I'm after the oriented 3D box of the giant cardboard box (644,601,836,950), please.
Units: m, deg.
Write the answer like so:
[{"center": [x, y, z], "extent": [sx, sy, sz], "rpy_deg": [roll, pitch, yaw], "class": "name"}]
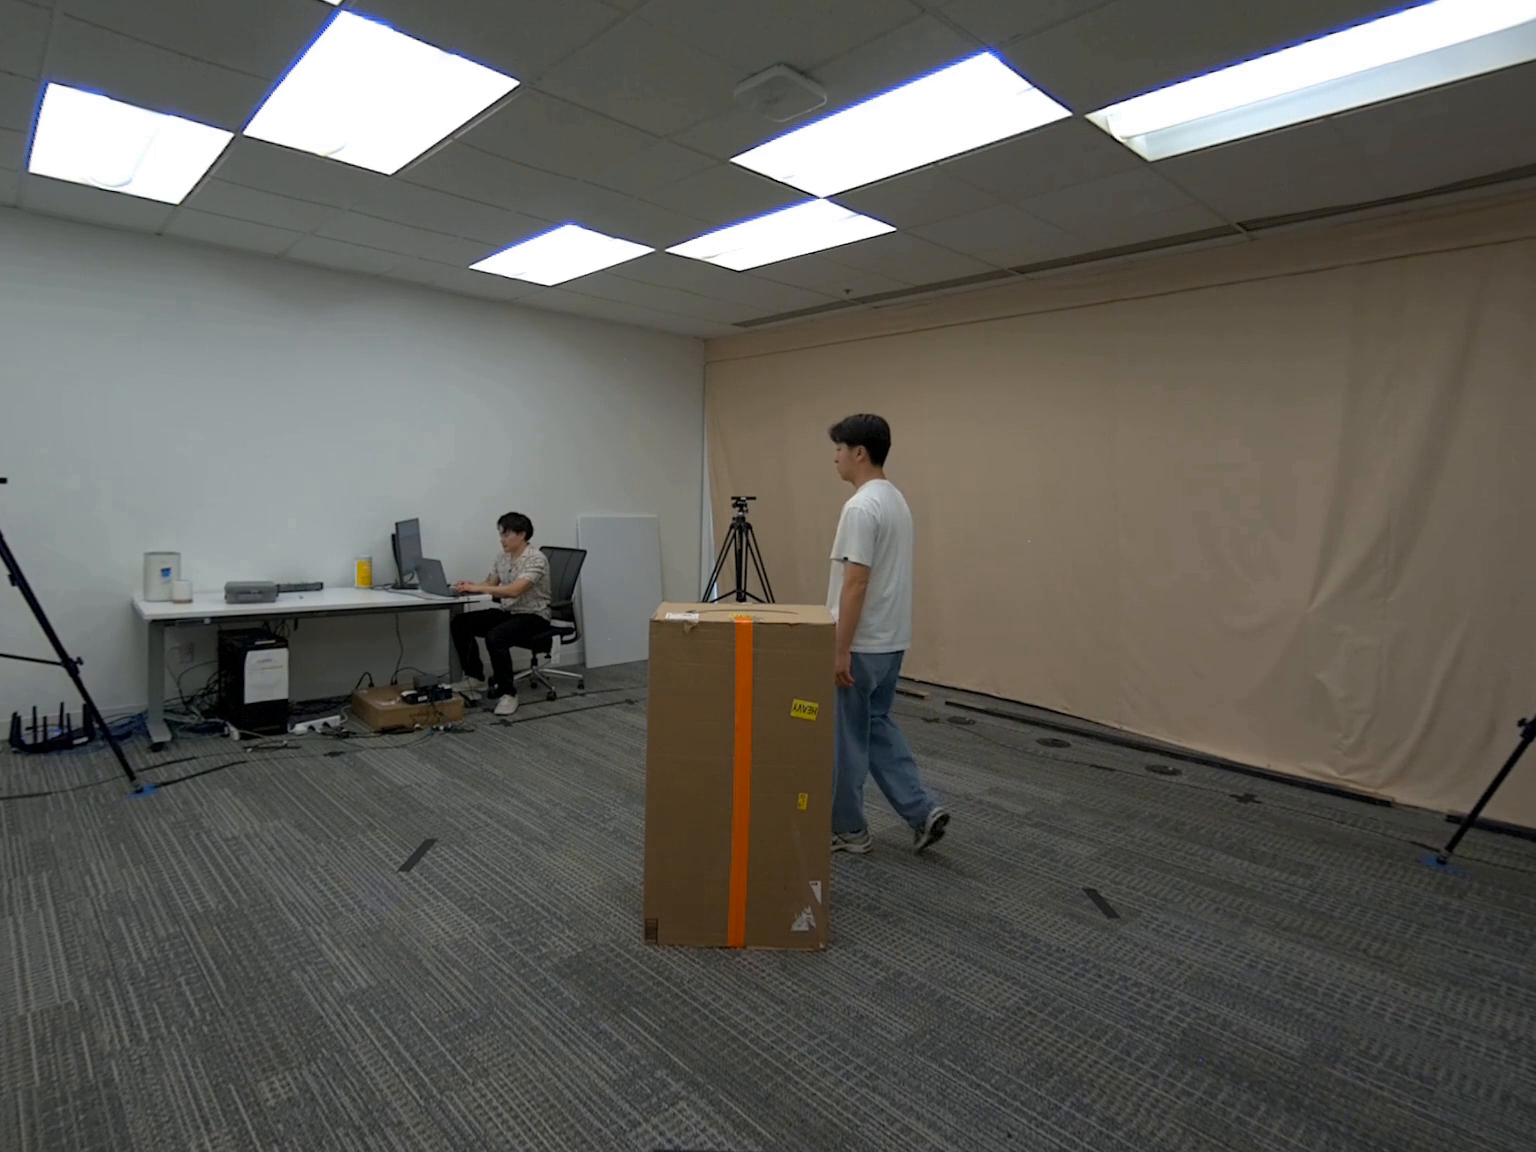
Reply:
[{"center": [-0.102, 0.628, 2.783], "extent": [0.578, 1.023, 0.427], "rpy_deg": [2, 4, 0], "class": "giant cardboard box"}]
